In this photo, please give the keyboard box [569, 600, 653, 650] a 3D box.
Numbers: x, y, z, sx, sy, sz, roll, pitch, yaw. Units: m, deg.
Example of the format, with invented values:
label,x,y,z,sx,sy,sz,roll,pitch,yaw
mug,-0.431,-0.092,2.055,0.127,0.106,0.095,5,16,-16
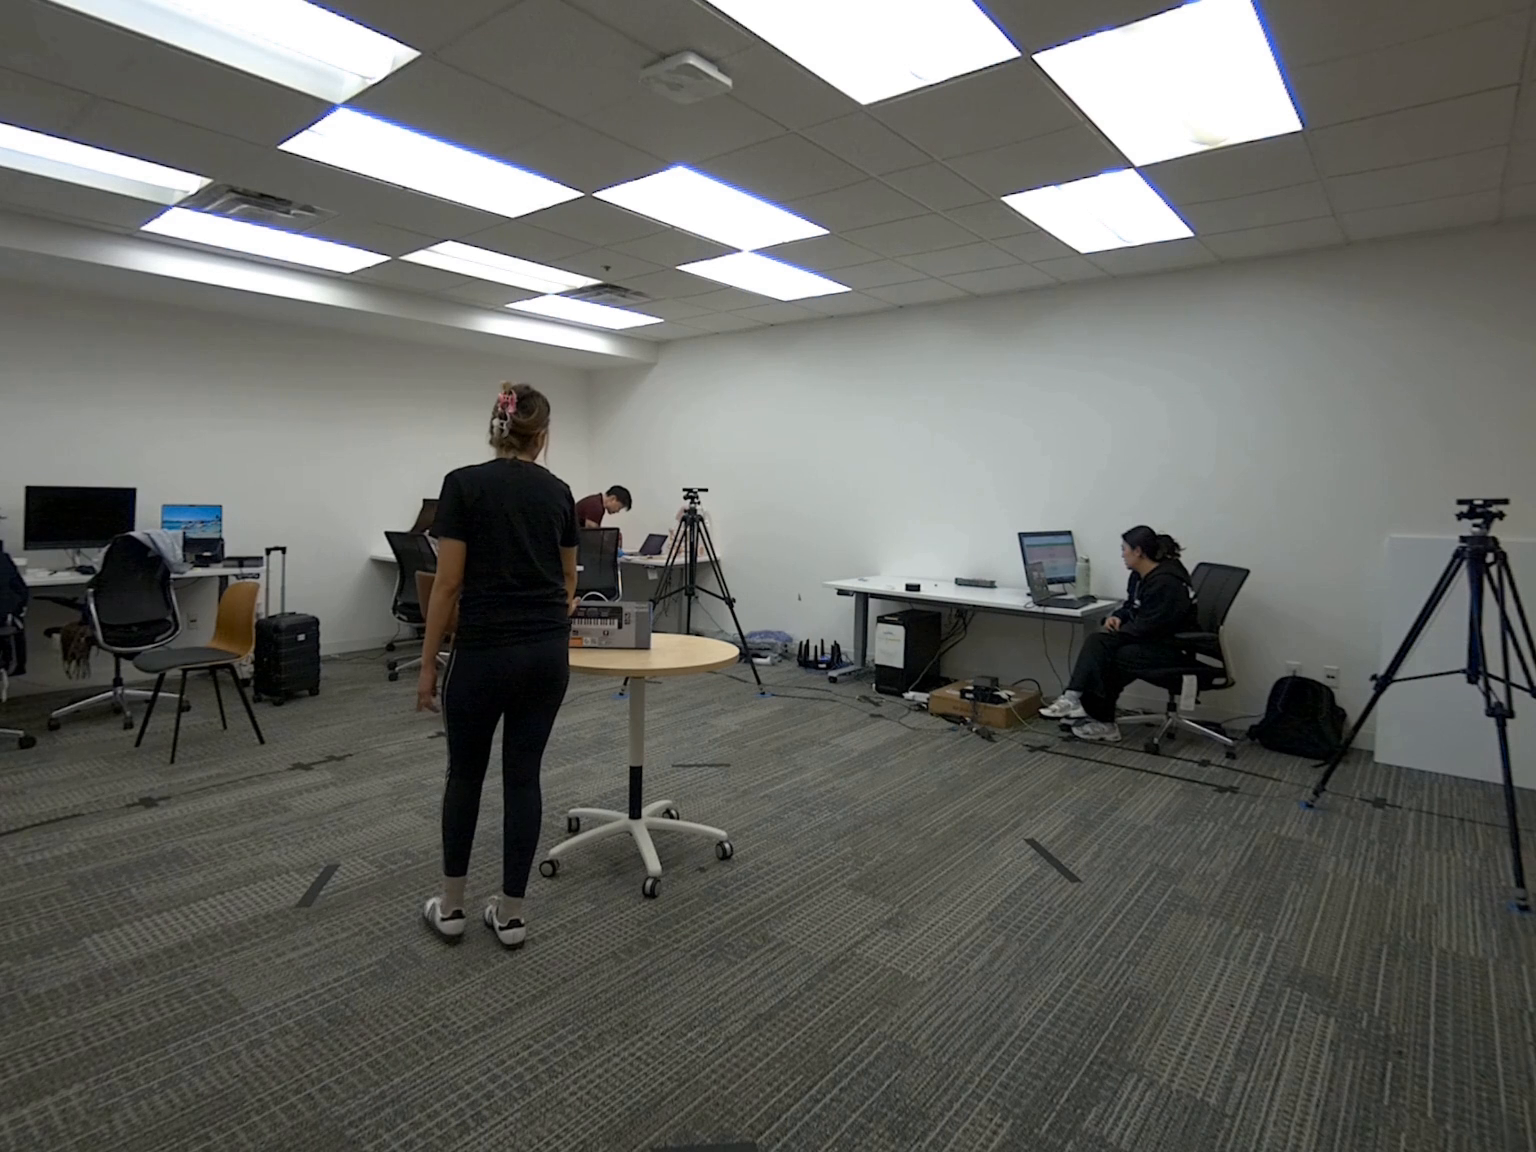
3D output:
label,x,y,z,sx,sy,sz,roll,pitch,yaw
keyboard box,-0.672,0.185,3.207,0.437,0.176,0.059,1,-2,1
